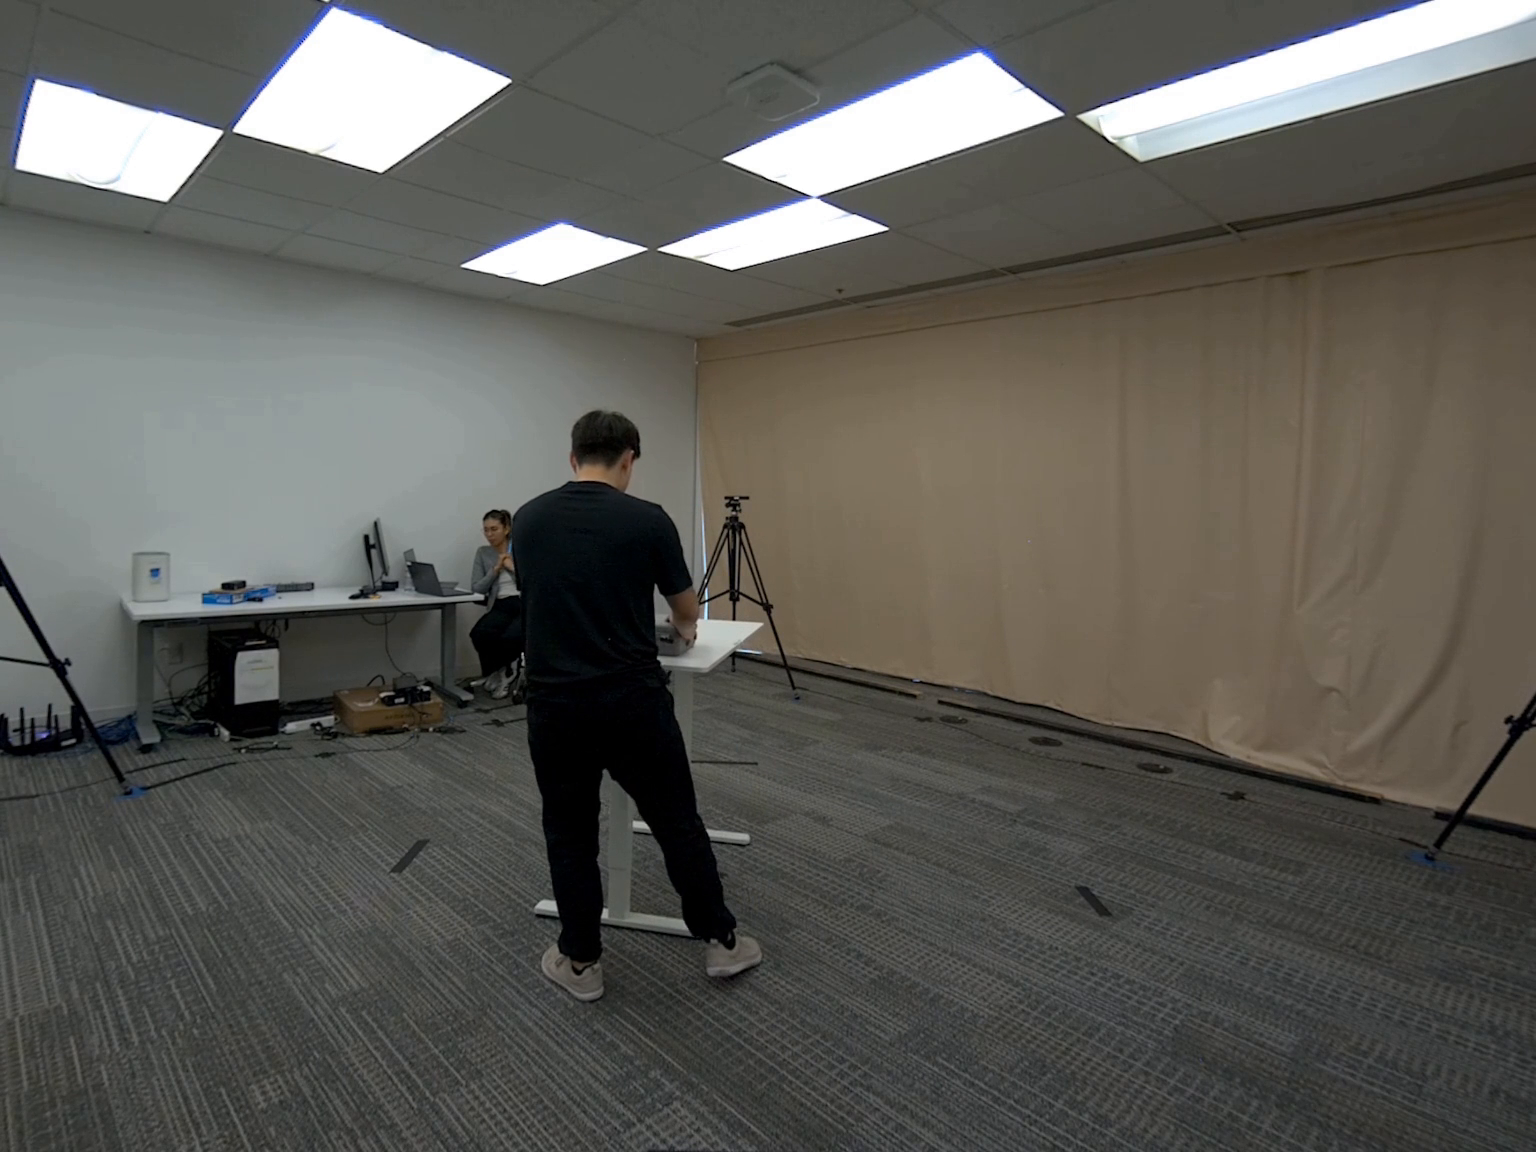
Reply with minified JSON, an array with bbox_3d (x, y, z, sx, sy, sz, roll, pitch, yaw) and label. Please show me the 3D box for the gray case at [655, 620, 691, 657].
[{"bbox_3d":[-0.387,0.199,2.797,0.259,0.104,0.259,2,6,10],"label":"gray case"}]
